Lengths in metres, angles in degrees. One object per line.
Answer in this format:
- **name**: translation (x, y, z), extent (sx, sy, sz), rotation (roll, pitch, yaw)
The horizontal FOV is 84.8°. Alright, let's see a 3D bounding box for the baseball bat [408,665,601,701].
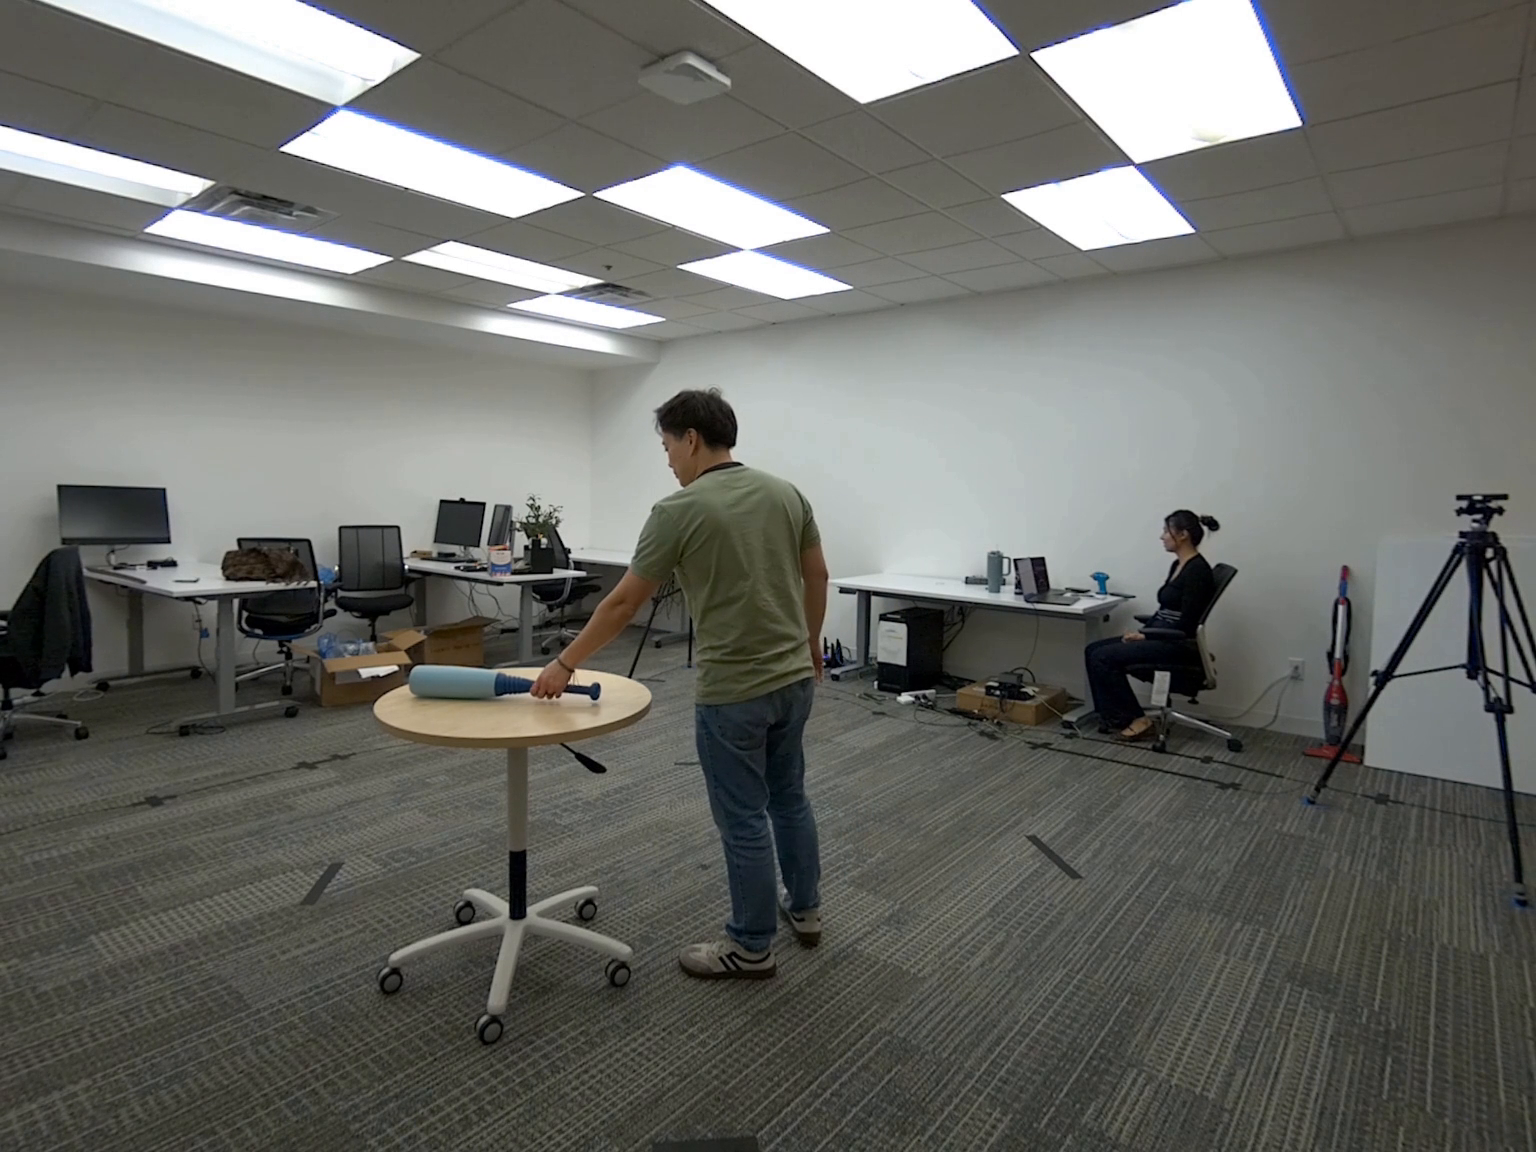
- **baseball bat**: translation (-0.753, 0.309, 2.402), extent (0.545, 0.089, 0.089), rotation (2, 4, 3)
